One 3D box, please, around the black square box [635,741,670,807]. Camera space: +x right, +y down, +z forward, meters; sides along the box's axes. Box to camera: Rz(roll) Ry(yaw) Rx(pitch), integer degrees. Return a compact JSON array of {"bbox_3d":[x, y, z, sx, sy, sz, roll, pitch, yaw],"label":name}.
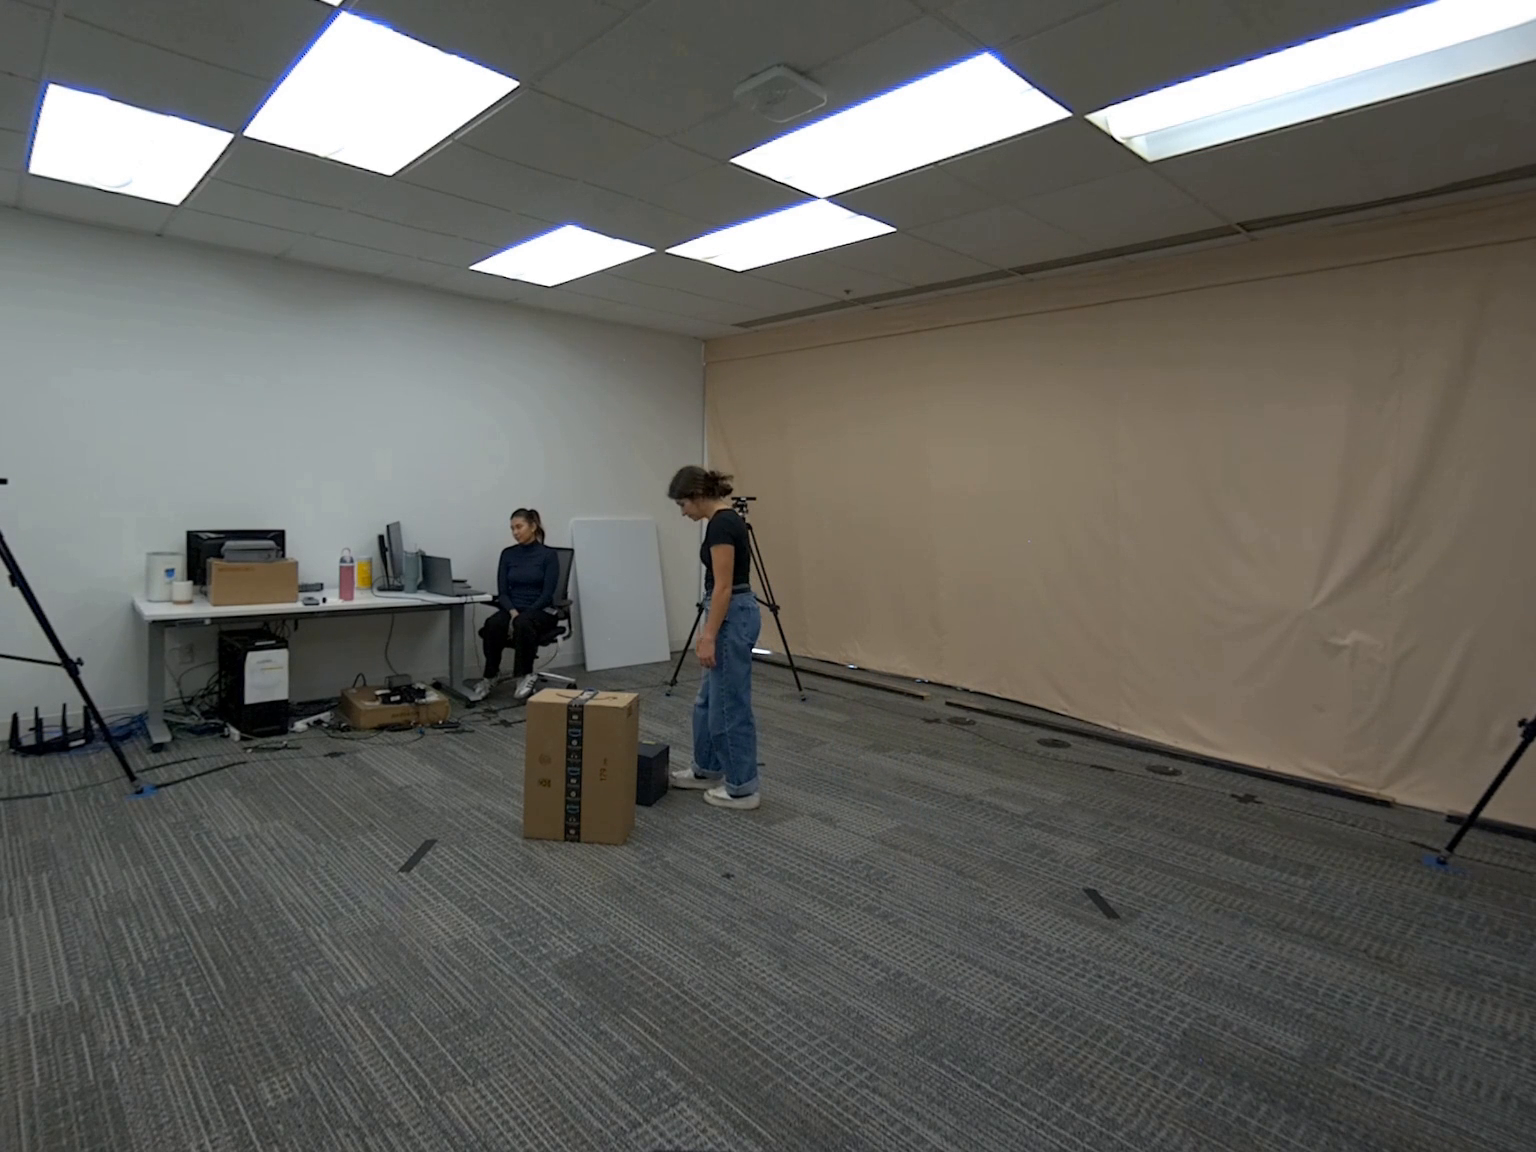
[{"bbox_3d":[-0.578,0.907,3.904,0.158,0.227,0.215,4,4,15],"label":"black square box"}]
